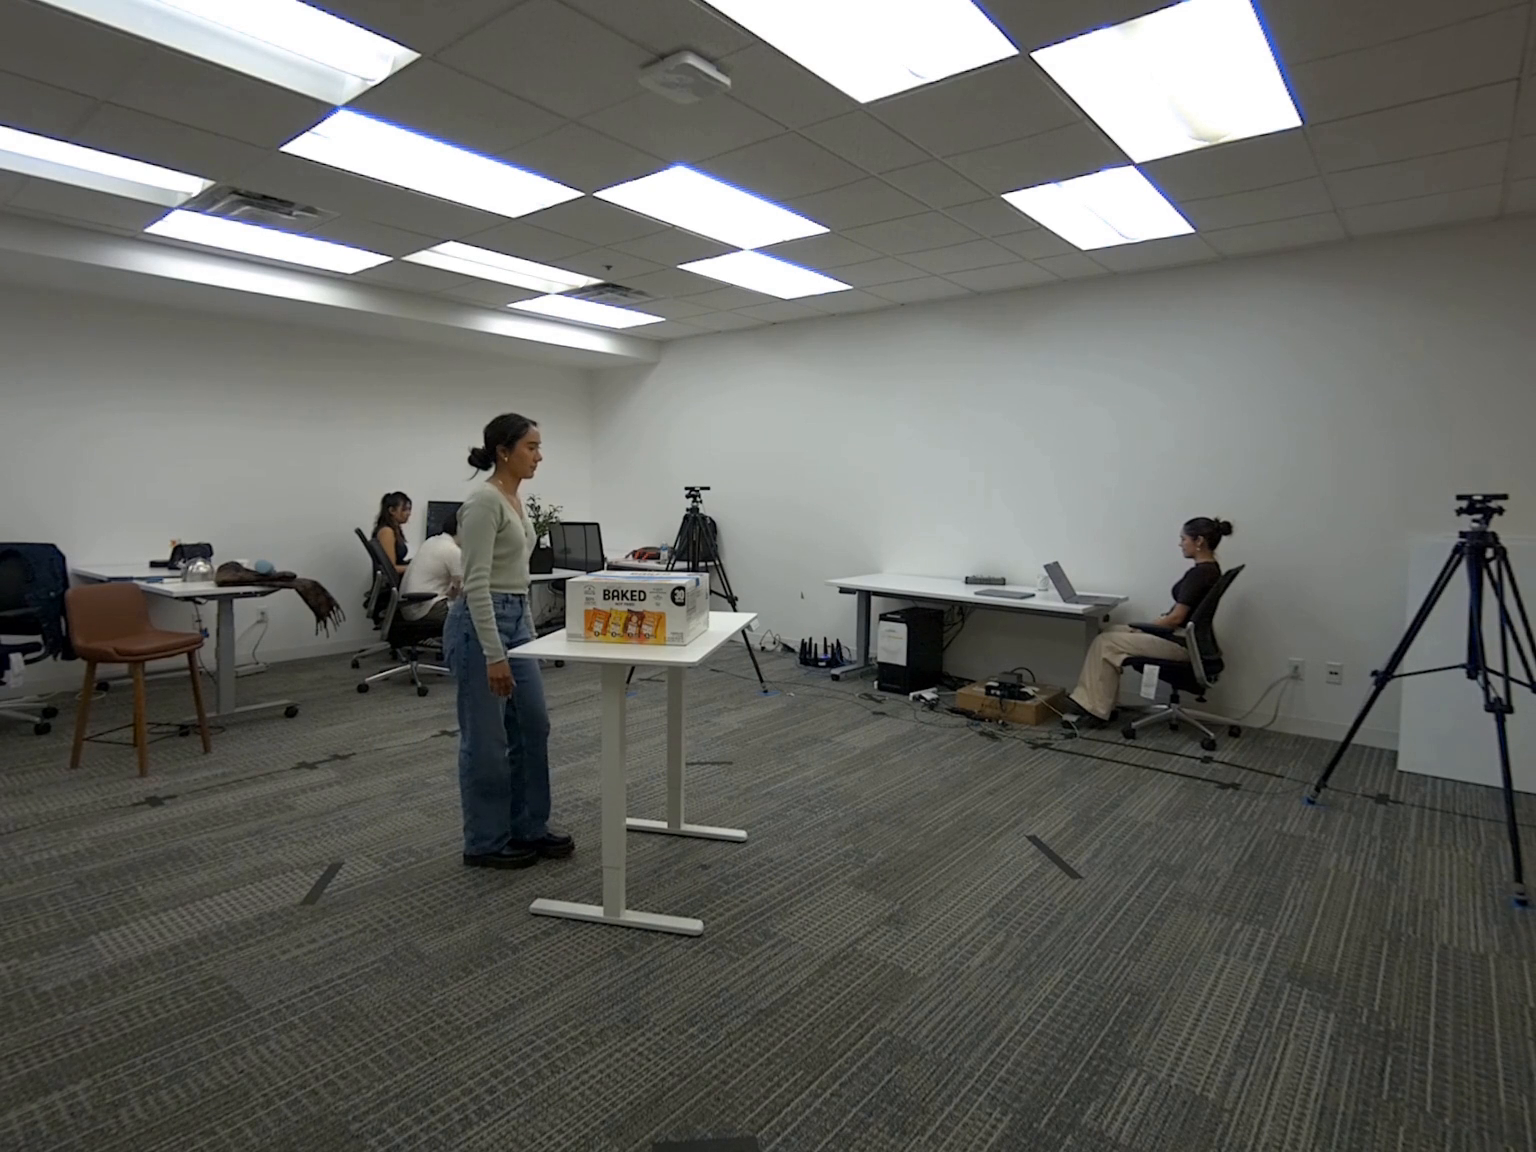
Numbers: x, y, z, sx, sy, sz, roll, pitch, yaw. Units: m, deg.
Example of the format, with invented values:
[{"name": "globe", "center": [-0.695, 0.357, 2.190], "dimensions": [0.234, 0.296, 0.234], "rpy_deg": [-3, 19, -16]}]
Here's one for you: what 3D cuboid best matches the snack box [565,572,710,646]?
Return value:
[{"name": "snack box", "center": [-0.444, 0.102, 2.902], "dimensions": [0.410, 0.205, 0.337], "rpy_deg": [1, 6, 11]}]
